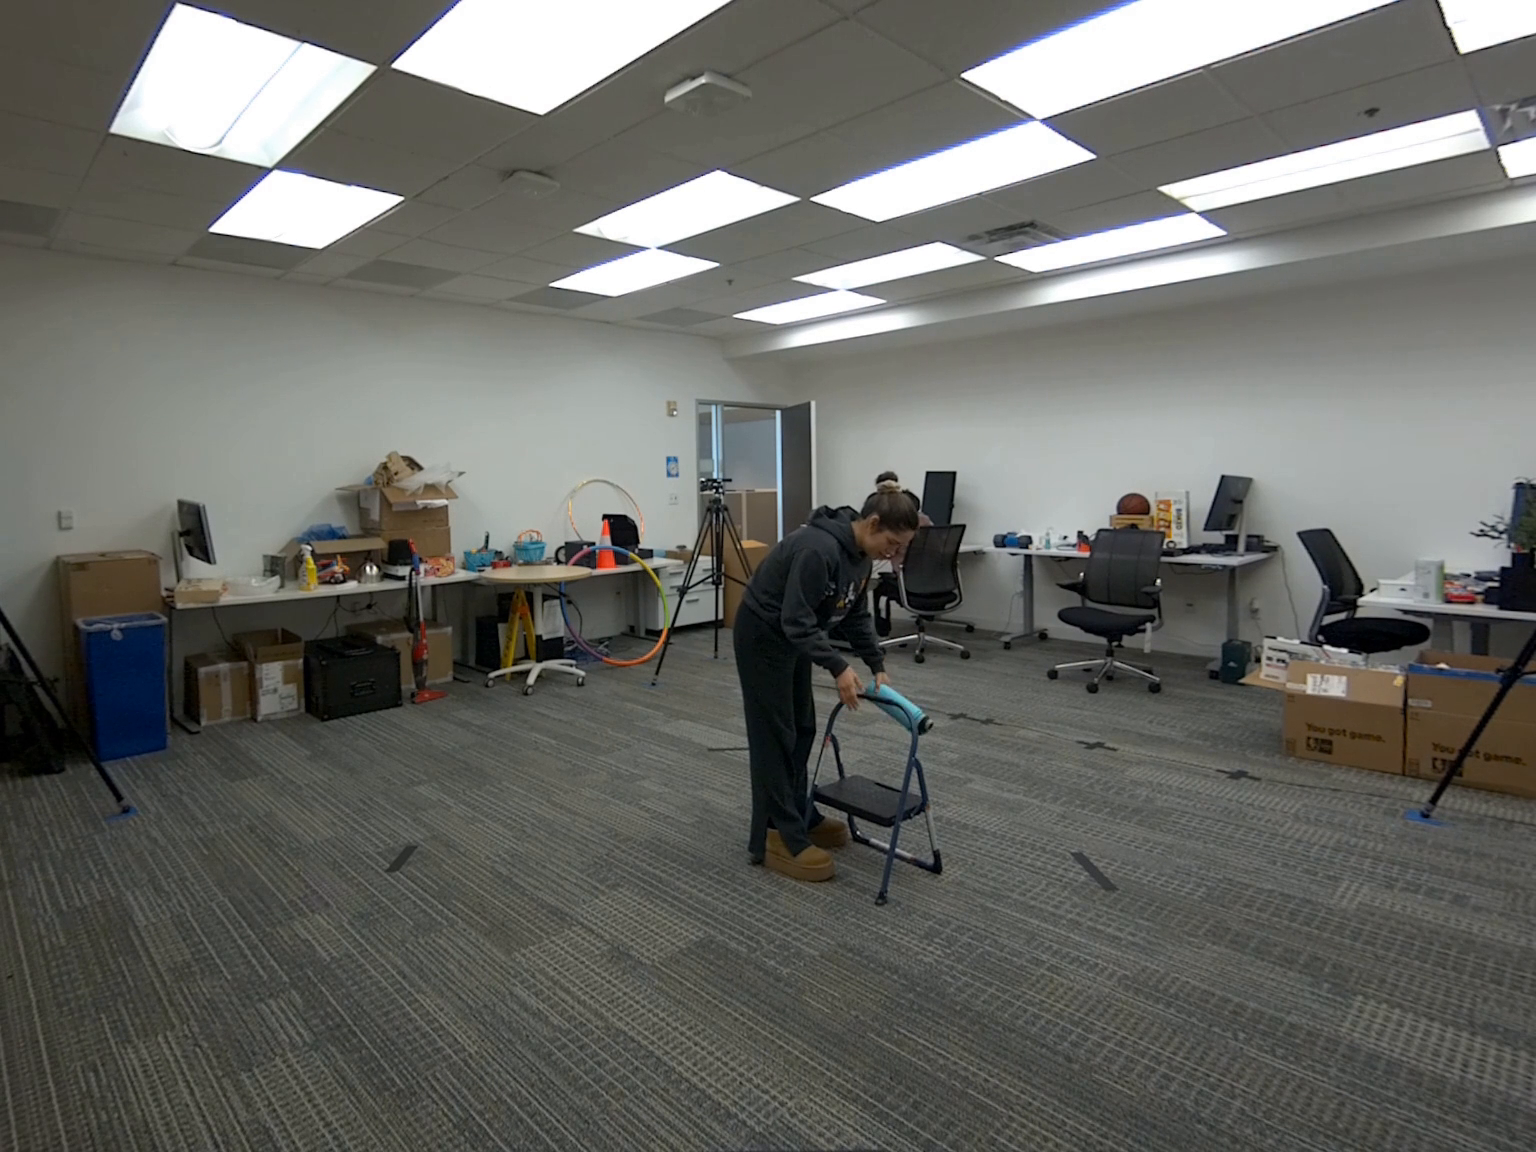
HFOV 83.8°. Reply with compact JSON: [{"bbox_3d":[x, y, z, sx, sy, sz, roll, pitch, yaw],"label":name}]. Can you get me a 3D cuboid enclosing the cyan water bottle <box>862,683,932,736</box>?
[{"bbox_3d":[0.494,0.493,3.231,0.090,0.091,0.294,-5,30,-45],"label":"cyan water bottle"}]
